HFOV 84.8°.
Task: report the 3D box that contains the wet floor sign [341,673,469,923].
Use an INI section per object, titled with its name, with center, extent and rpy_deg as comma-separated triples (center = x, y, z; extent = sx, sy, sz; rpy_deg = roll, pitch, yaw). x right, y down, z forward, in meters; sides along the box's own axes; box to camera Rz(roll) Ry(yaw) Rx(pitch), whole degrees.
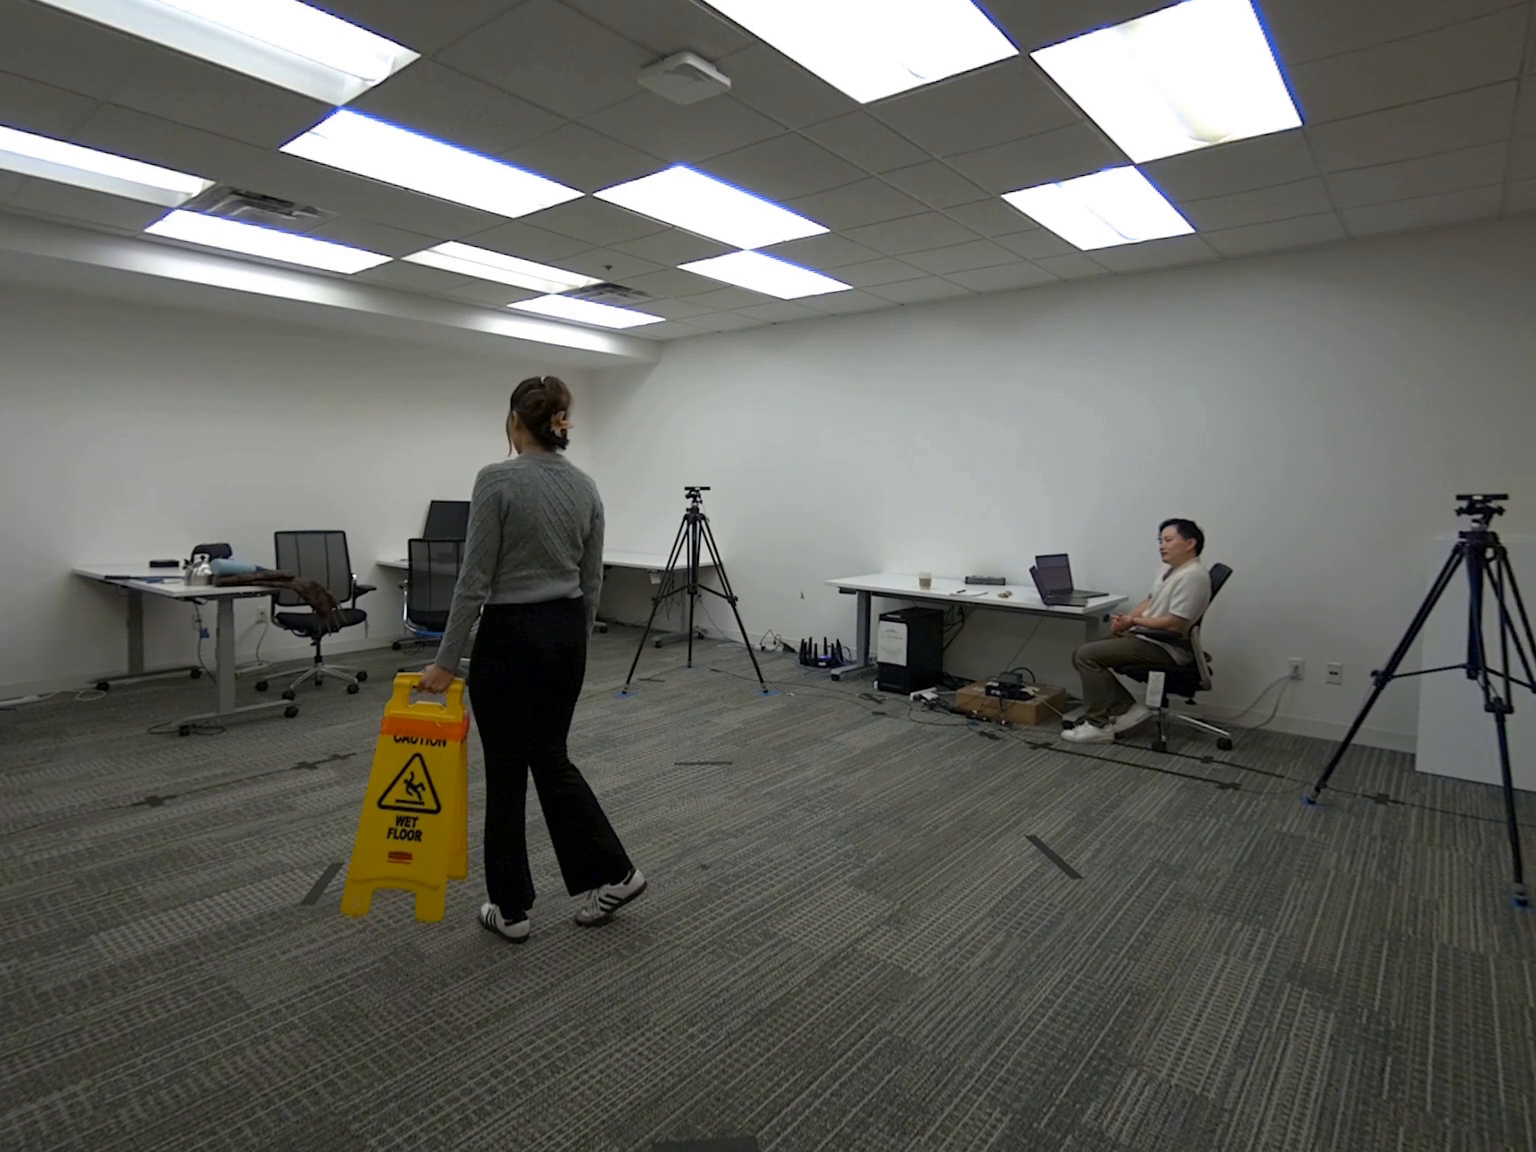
[wet floor sign]
center = -1.028, 0.612, 2.479
extent = 0.280, 0.647, 0.291
rpy_deg = 6, -1, -6
